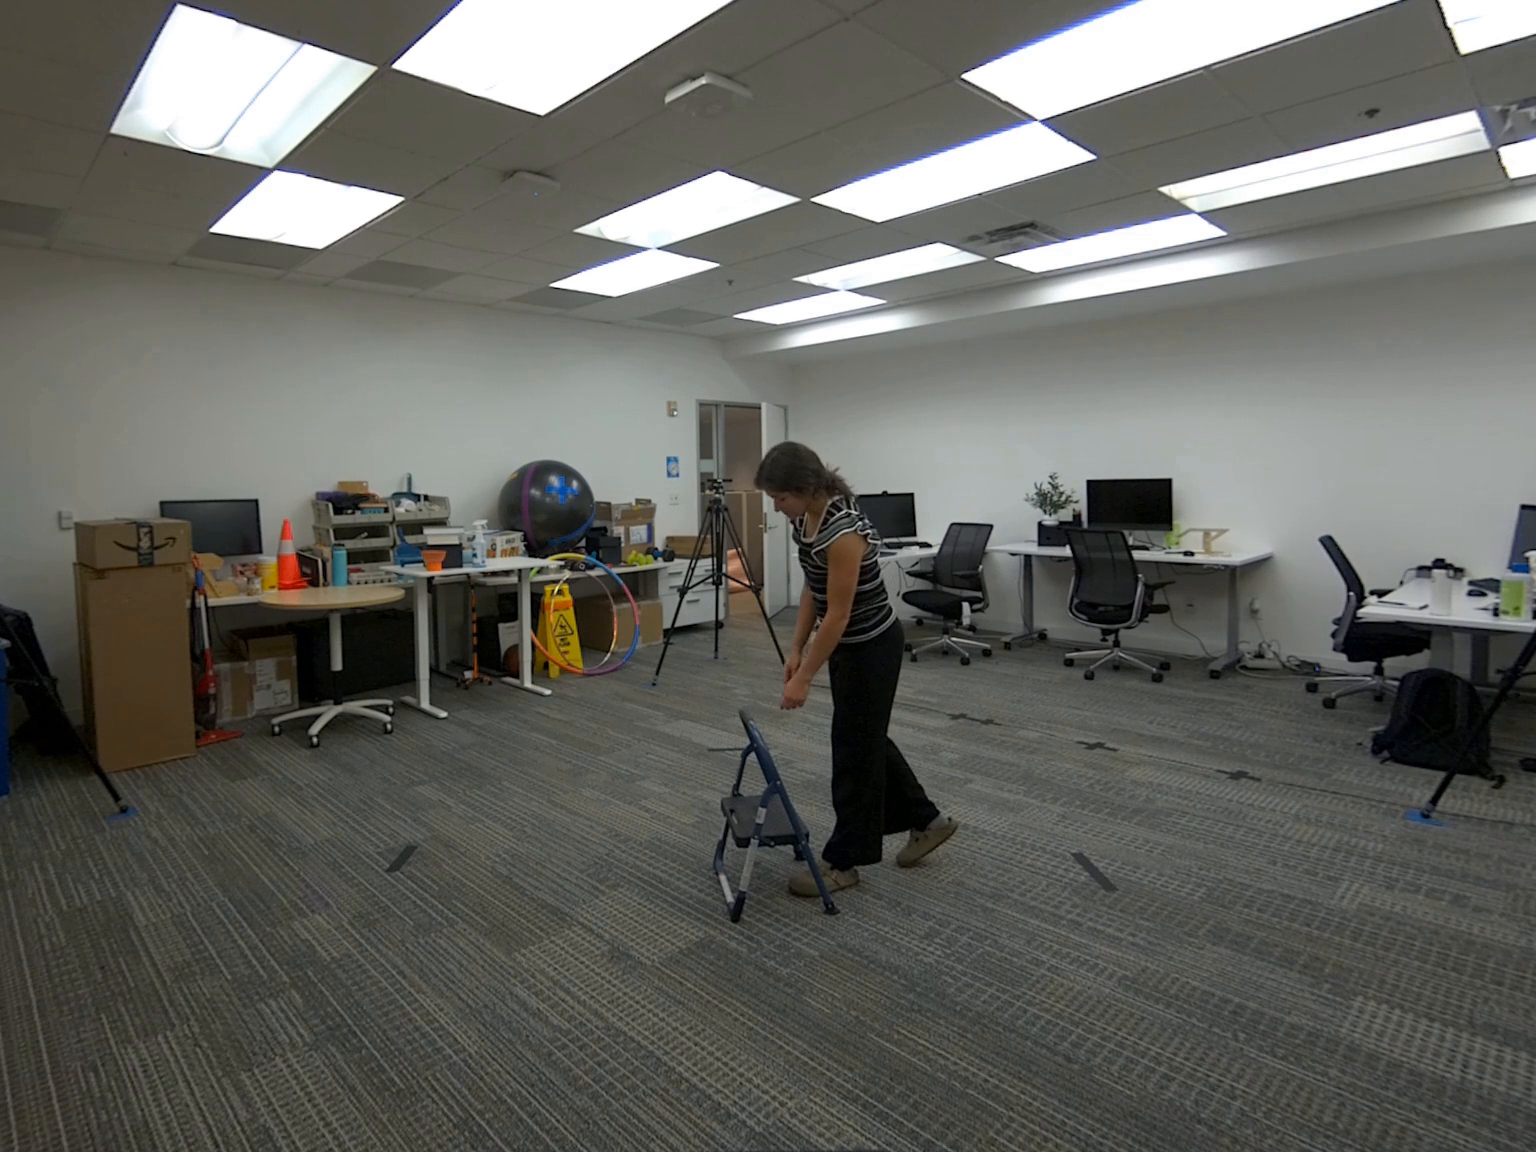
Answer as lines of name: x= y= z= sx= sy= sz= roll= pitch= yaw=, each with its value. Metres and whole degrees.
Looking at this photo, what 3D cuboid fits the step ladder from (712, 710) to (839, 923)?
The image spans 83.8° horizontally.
step ladder: x=0.010 y=0.767 z=2.896 sx=0.346 sy=0.604 sz=0.437 roll=-1 pitch=4 yaw=-11
